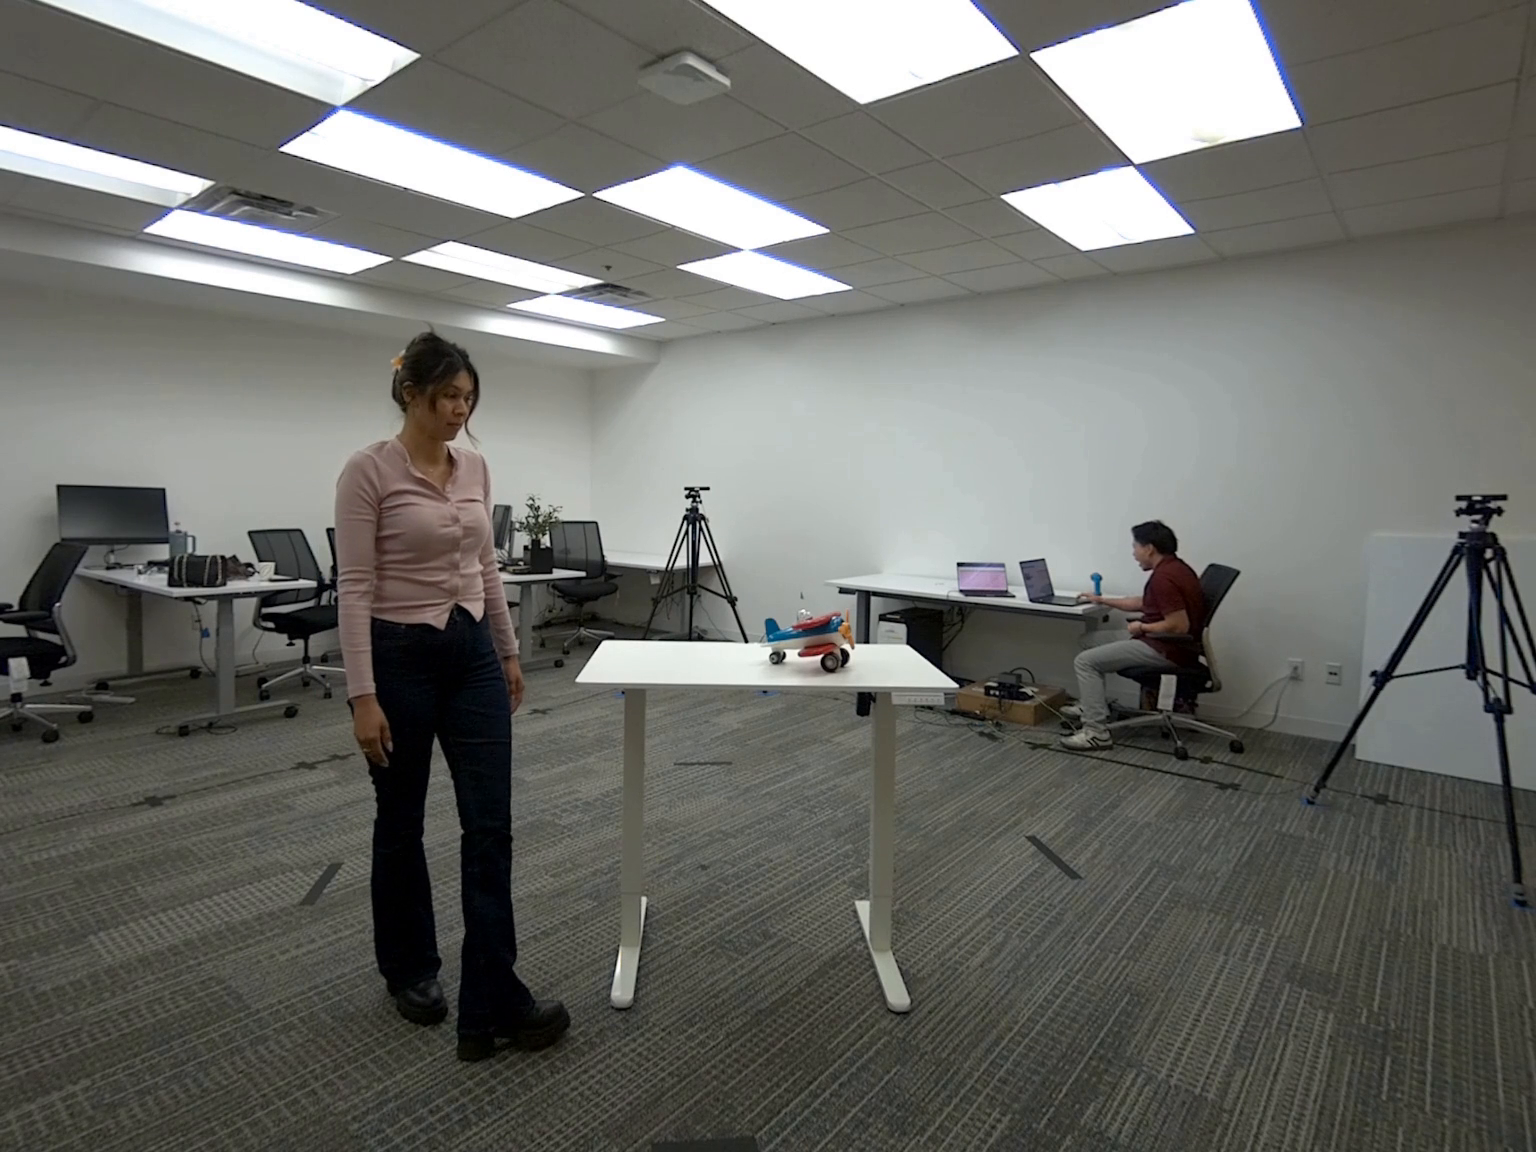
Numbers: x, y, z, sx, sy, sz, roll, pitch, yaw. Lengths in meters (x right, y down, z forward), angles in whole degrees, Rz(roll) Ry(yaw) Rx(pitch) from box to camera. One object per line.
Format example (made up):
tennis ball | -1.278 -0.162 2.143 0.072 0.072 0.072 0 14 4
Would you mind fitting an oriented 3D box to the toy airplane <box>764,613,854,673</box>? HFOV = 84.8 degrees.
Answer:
toy airplane | 0.107 0.182 2.426 0.258 0.156 0.253 1 5 -4
